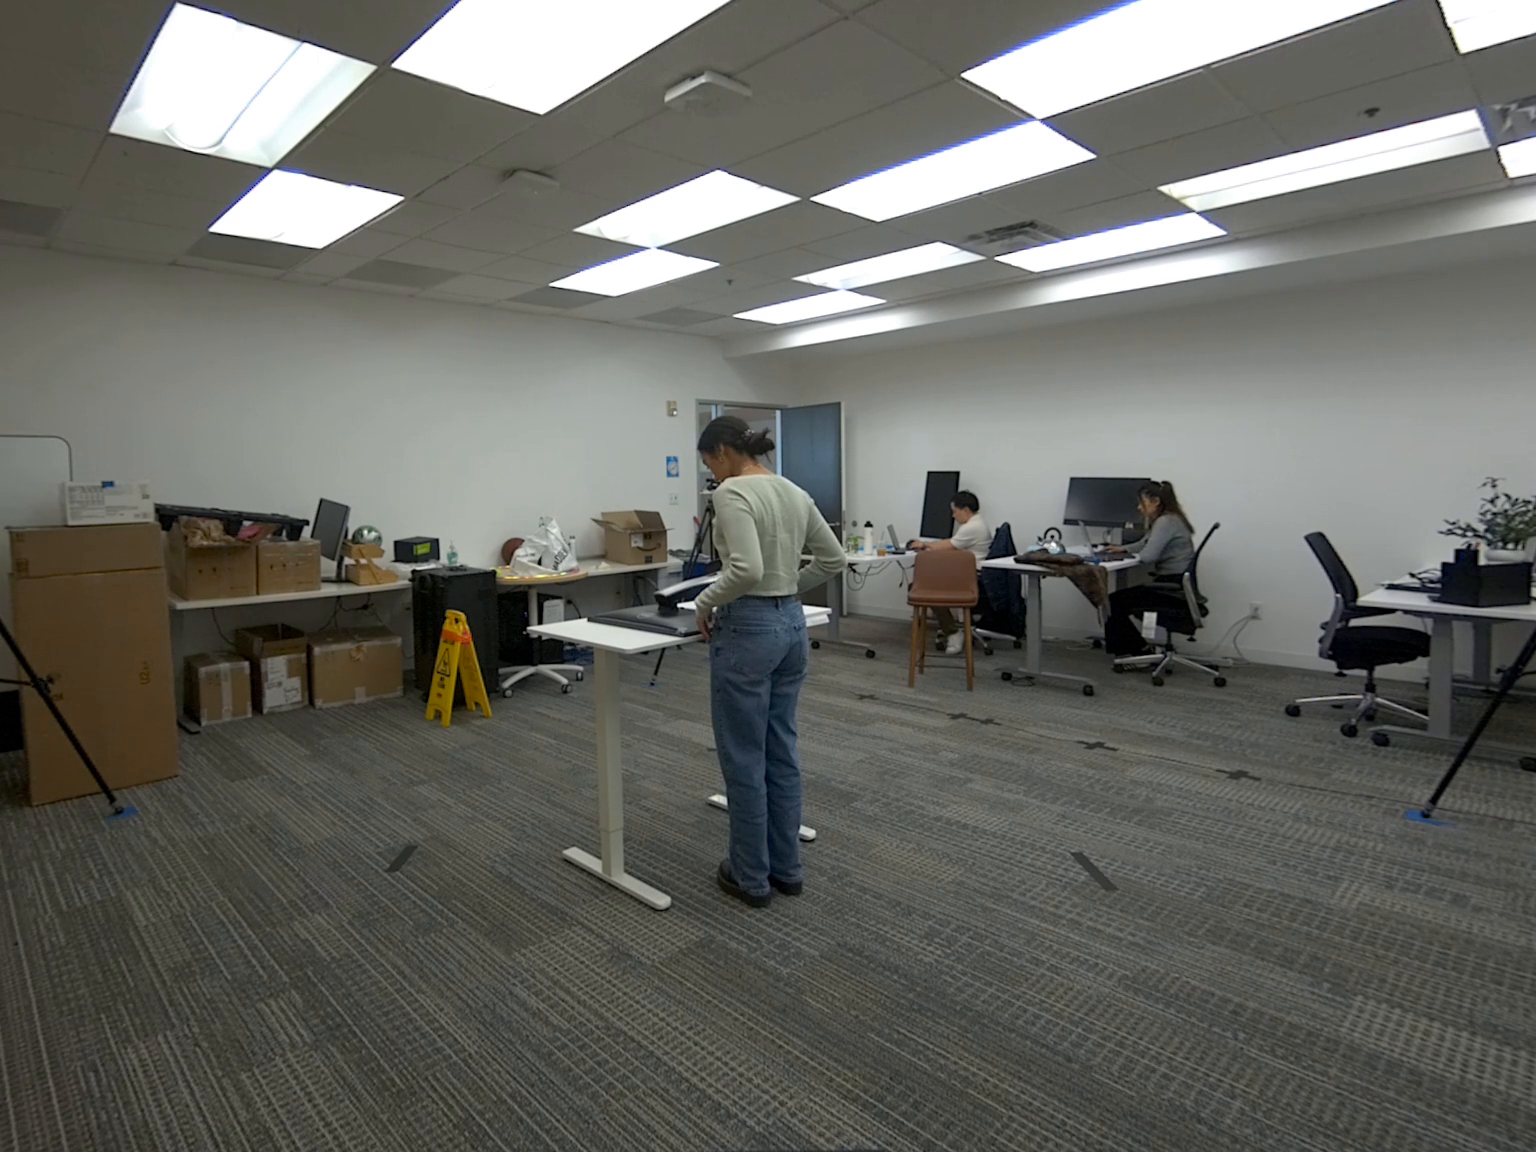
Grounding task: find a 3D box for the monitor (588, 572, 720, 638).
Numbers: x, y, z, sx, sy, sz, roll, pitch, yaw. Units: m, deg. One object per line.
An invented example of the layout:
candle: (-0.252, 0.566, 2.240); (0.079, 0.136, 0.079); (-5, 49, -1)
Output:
monitor: (-0.300, 0.102, 3.152); (0.555, 0.184, 0.515); (1, 20, 45)
